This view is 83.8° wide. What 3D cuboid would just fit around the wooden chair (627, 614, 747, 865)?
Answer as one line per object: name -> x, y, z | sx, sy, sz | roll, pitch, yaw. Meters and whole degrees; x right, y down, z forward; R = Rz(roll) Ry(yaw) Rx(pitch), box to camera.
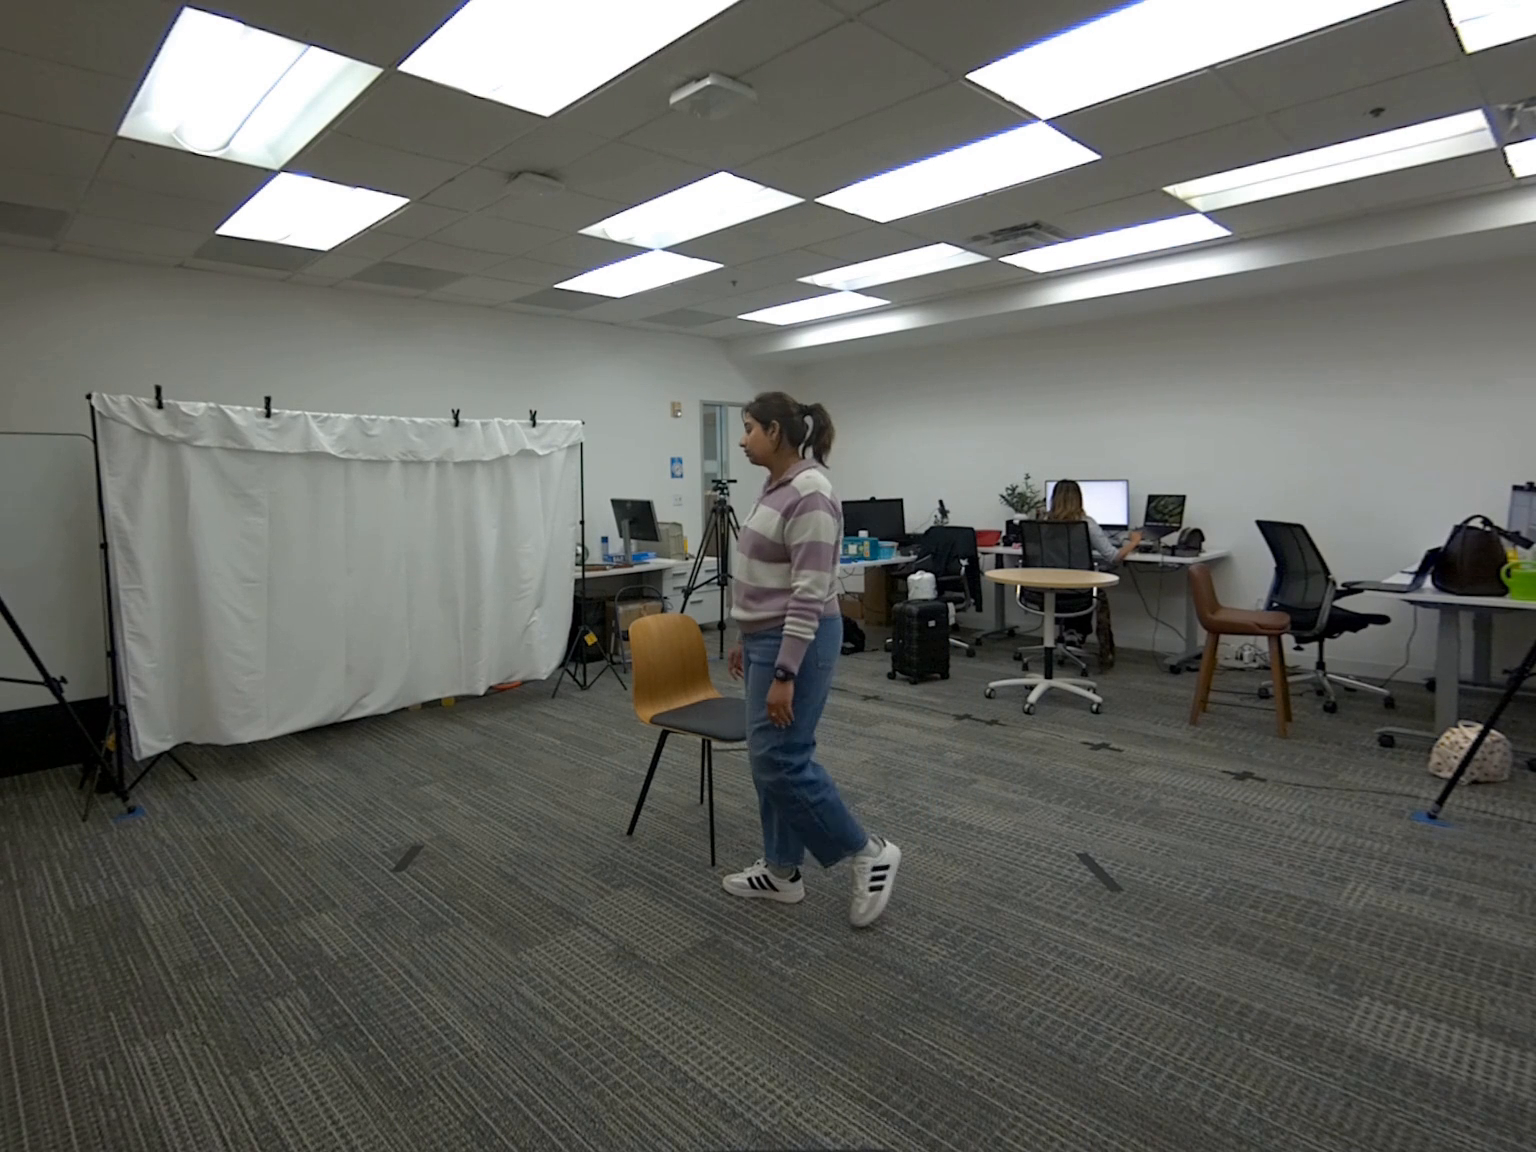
wooden chair -> -0.240, 0.593, 3.365 | 0.537, 0.877, 0.465 | -3, 1, 39
